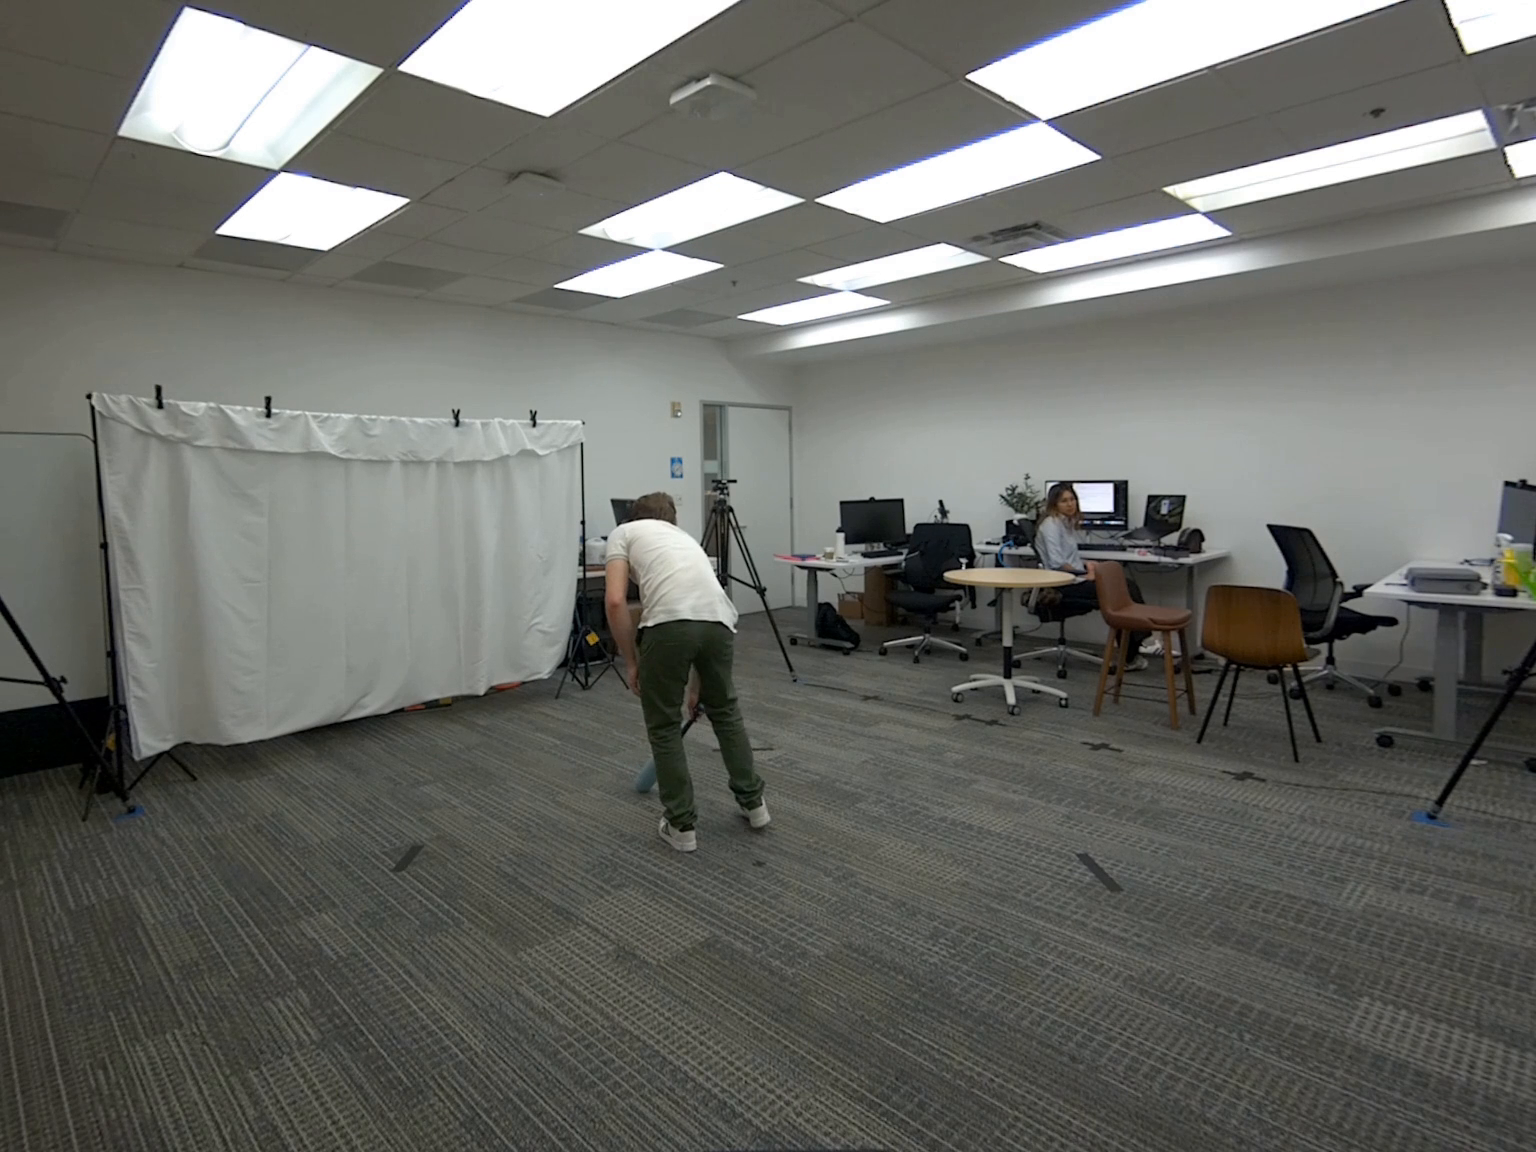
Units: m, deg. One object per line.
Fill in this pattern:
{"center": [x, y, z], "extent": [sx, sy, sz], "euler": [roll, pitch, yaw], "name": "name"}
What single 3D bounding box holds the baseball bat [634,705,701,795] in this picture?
{"center": [-0.426, 0.763, 3.781], "extent": [0.087, 0.541, 0.091], "euler": [30, 26, -18], "name": "baseball bat"}
